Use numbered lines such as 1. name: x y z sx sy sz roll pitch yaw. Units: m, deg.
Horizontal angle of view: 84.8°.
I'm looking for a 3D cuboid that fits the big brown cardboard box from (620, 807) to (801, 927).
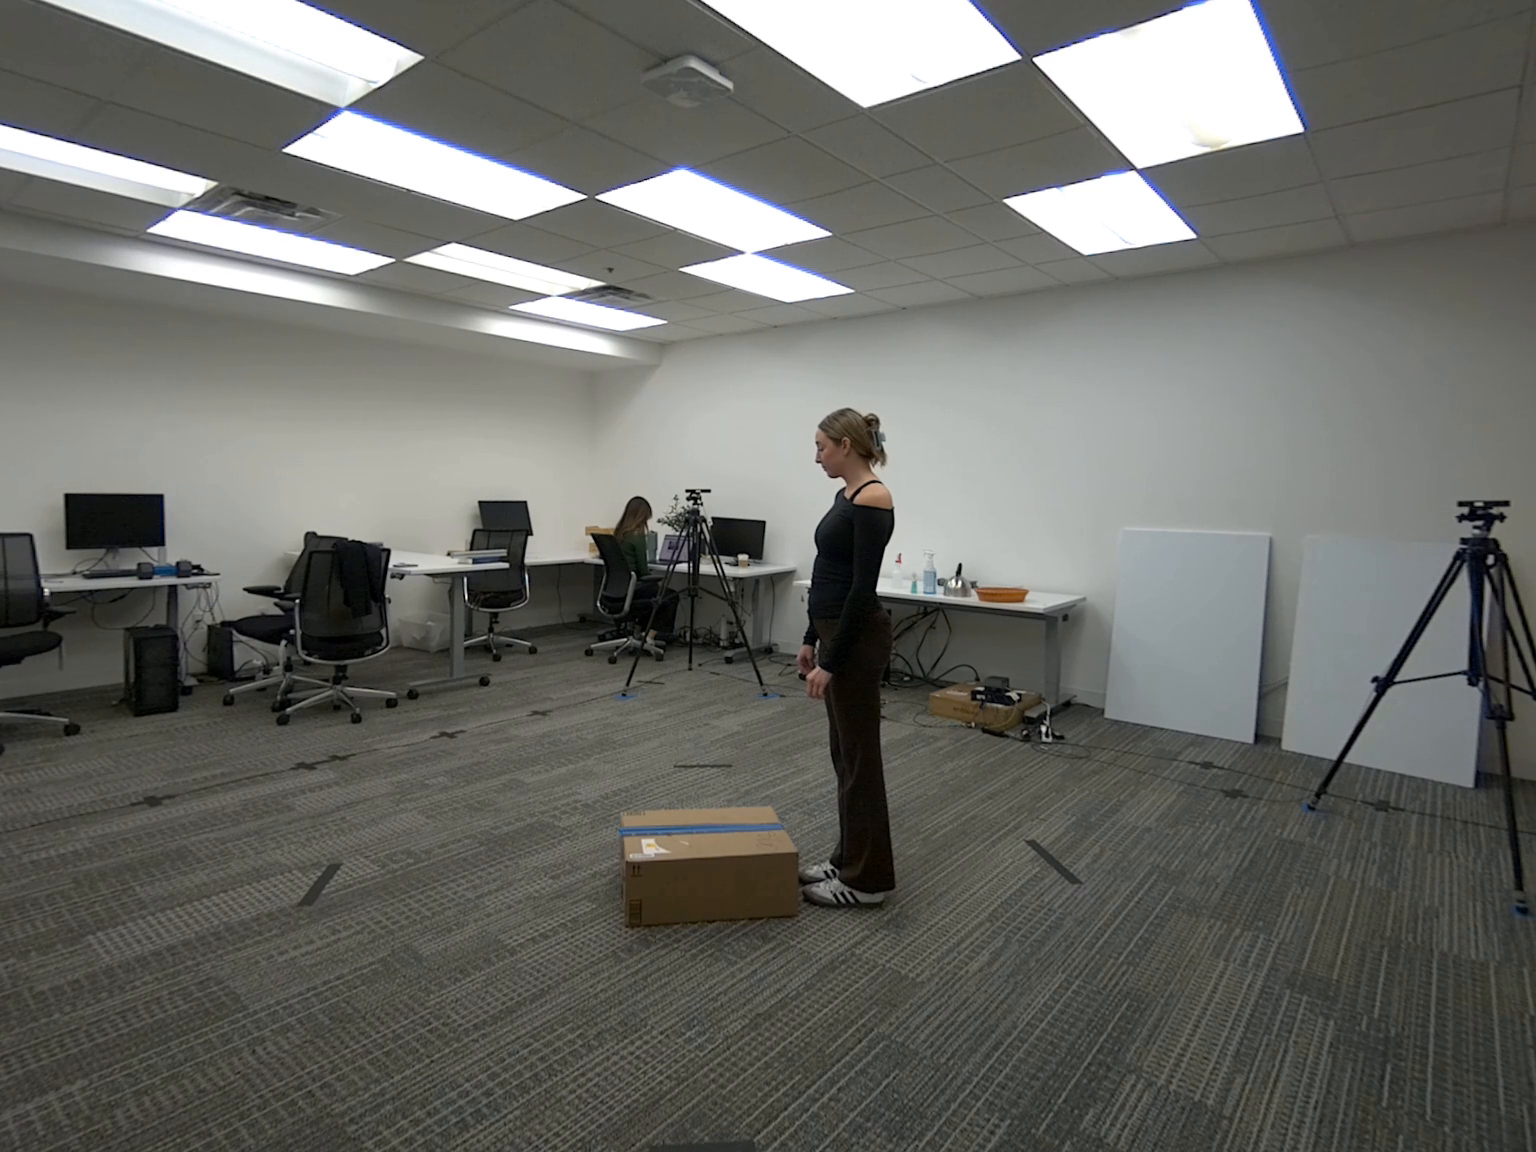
1. big brown cardboard box: -0.234 0.978 2.932 0.582 0.232 0.424 1 5 -11
